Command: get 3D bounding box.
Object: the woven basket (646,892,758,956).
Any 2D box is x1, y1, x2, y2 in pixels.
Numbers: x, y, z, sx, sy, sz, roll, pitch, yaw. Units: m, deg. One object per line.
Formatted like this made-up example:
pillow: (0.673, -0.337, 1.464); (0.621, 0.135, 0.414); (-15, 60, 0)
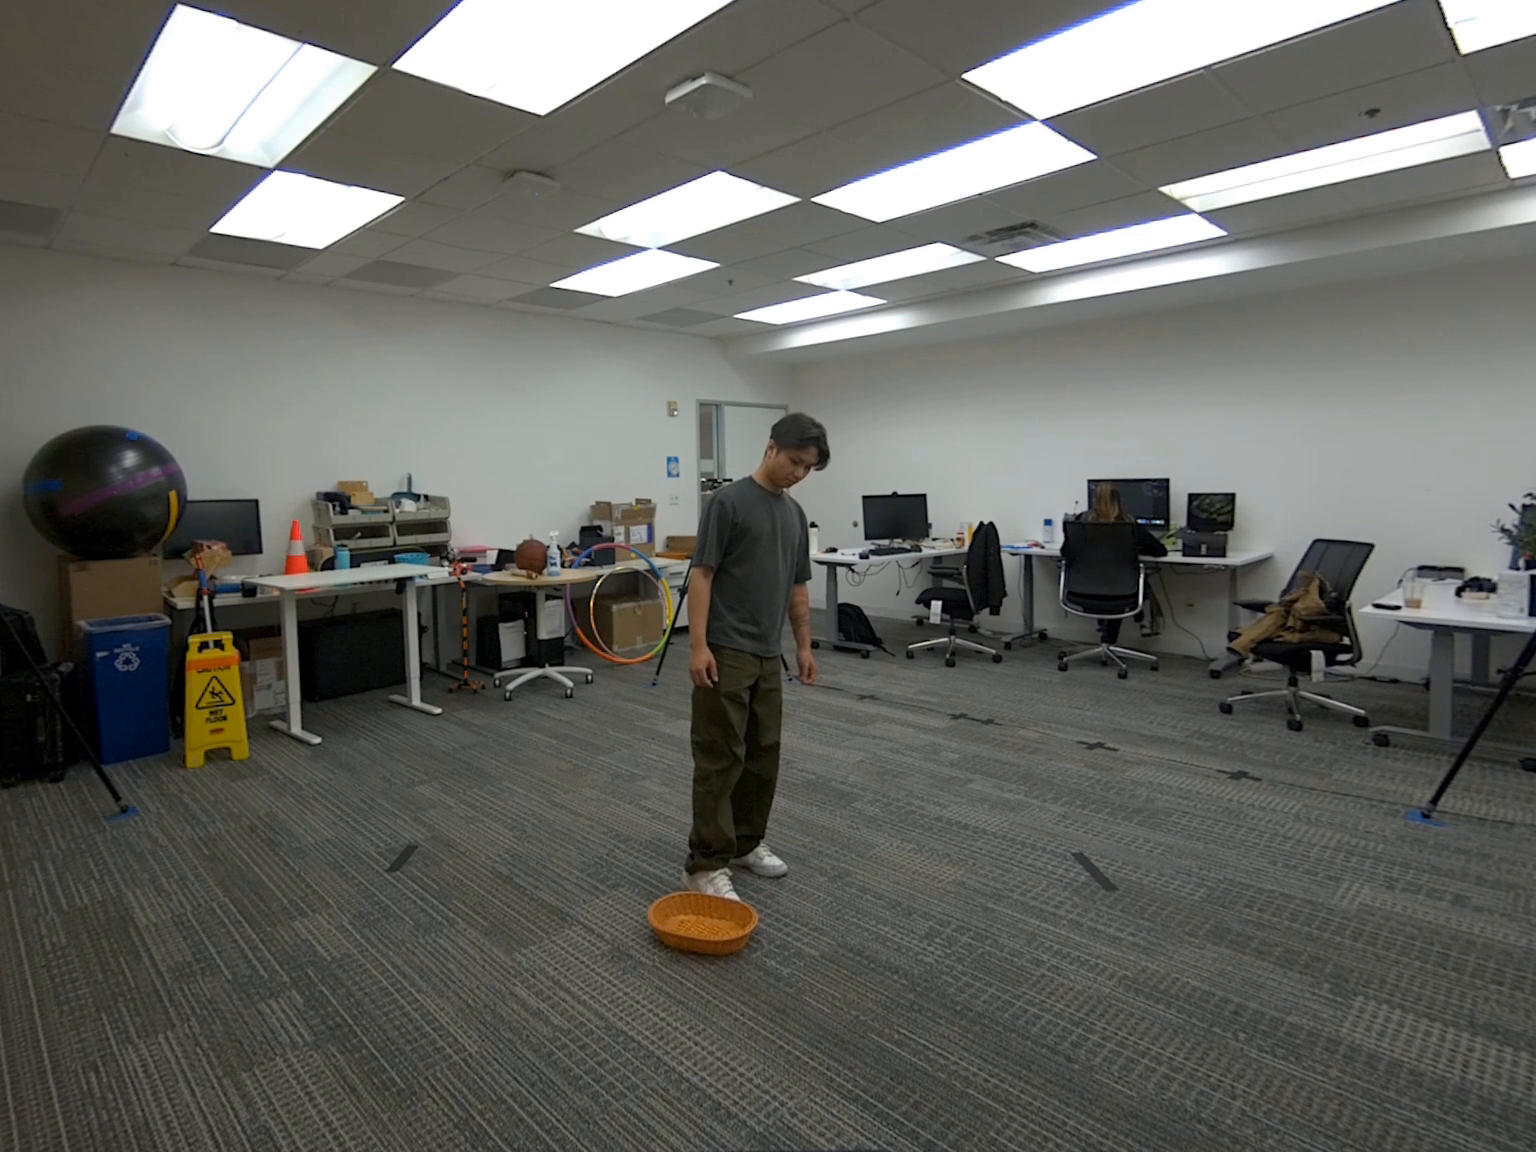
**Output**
woven basket: (-0.199, 1.067, 2.616); (0.359, 0.073, 0.248); (2, 8, 25)
